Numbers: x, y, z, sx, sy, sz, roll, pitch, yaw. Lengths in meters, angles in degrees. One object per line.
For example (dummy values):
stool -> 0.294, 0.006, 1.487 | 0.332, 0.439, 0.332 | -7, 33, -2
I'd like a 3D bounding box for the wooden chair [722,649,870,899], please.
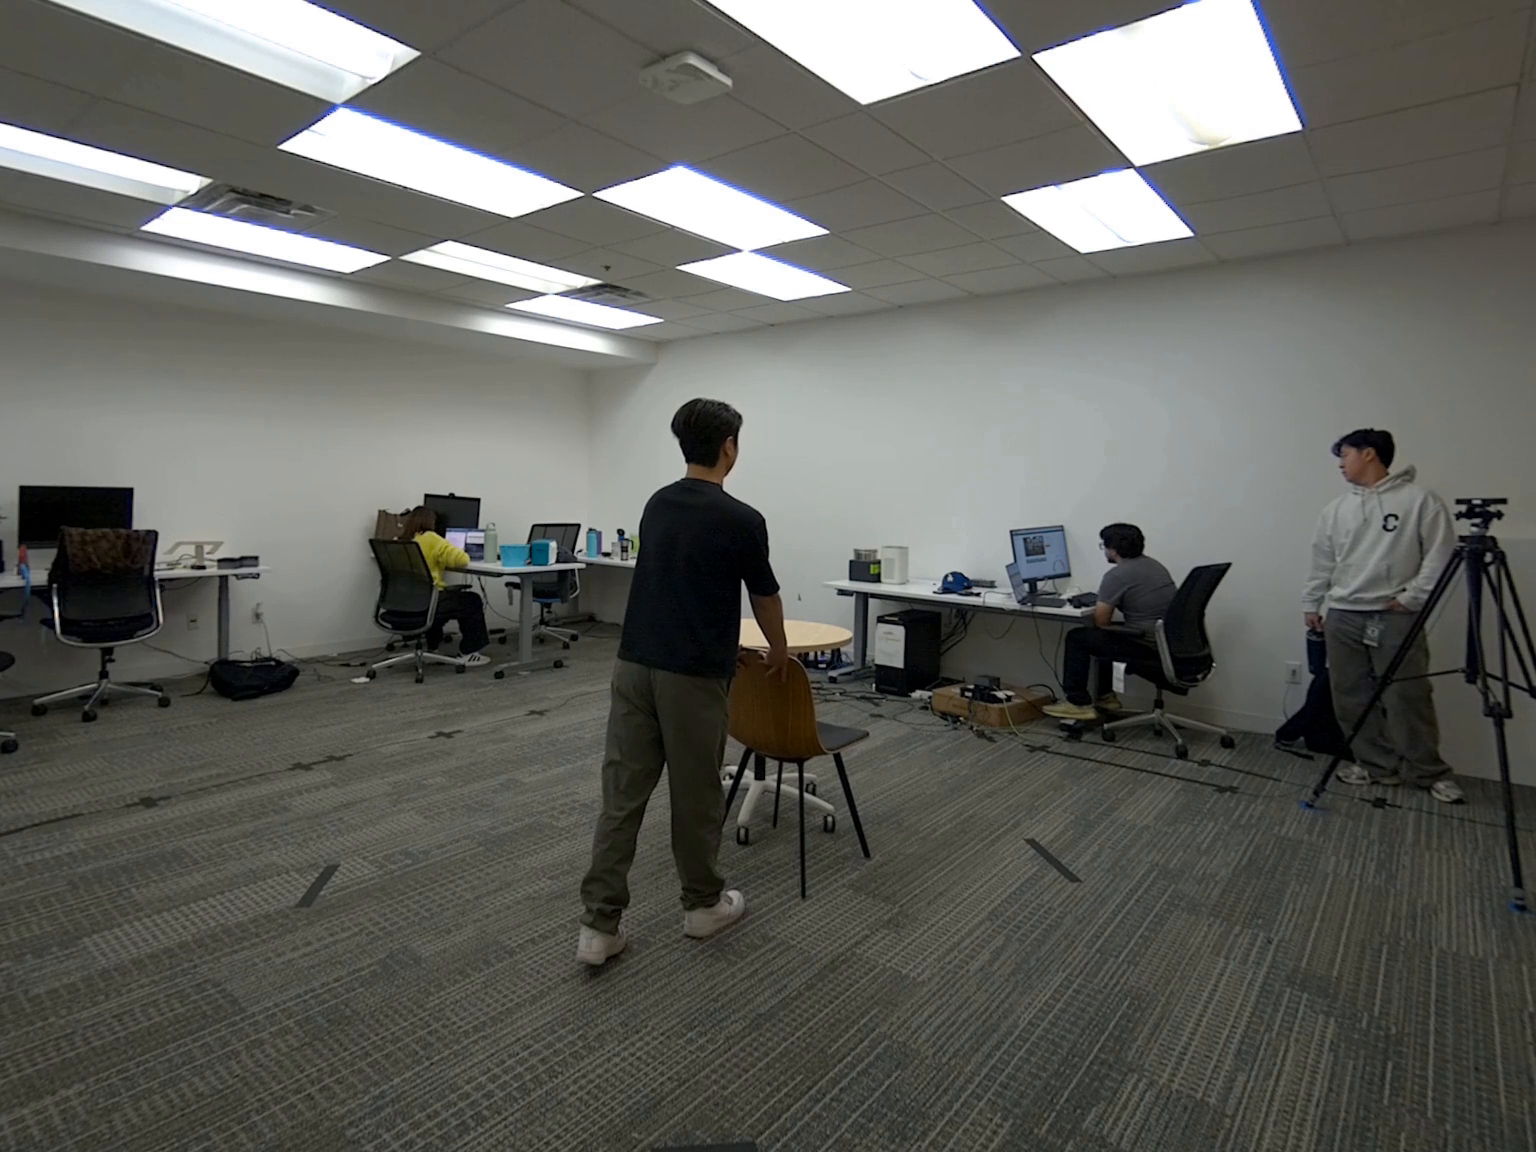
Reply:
wooden chair -> 0.082, 0.640, 3.189 | 0.494, 0.872, 0.510 | 3, 9, 38
